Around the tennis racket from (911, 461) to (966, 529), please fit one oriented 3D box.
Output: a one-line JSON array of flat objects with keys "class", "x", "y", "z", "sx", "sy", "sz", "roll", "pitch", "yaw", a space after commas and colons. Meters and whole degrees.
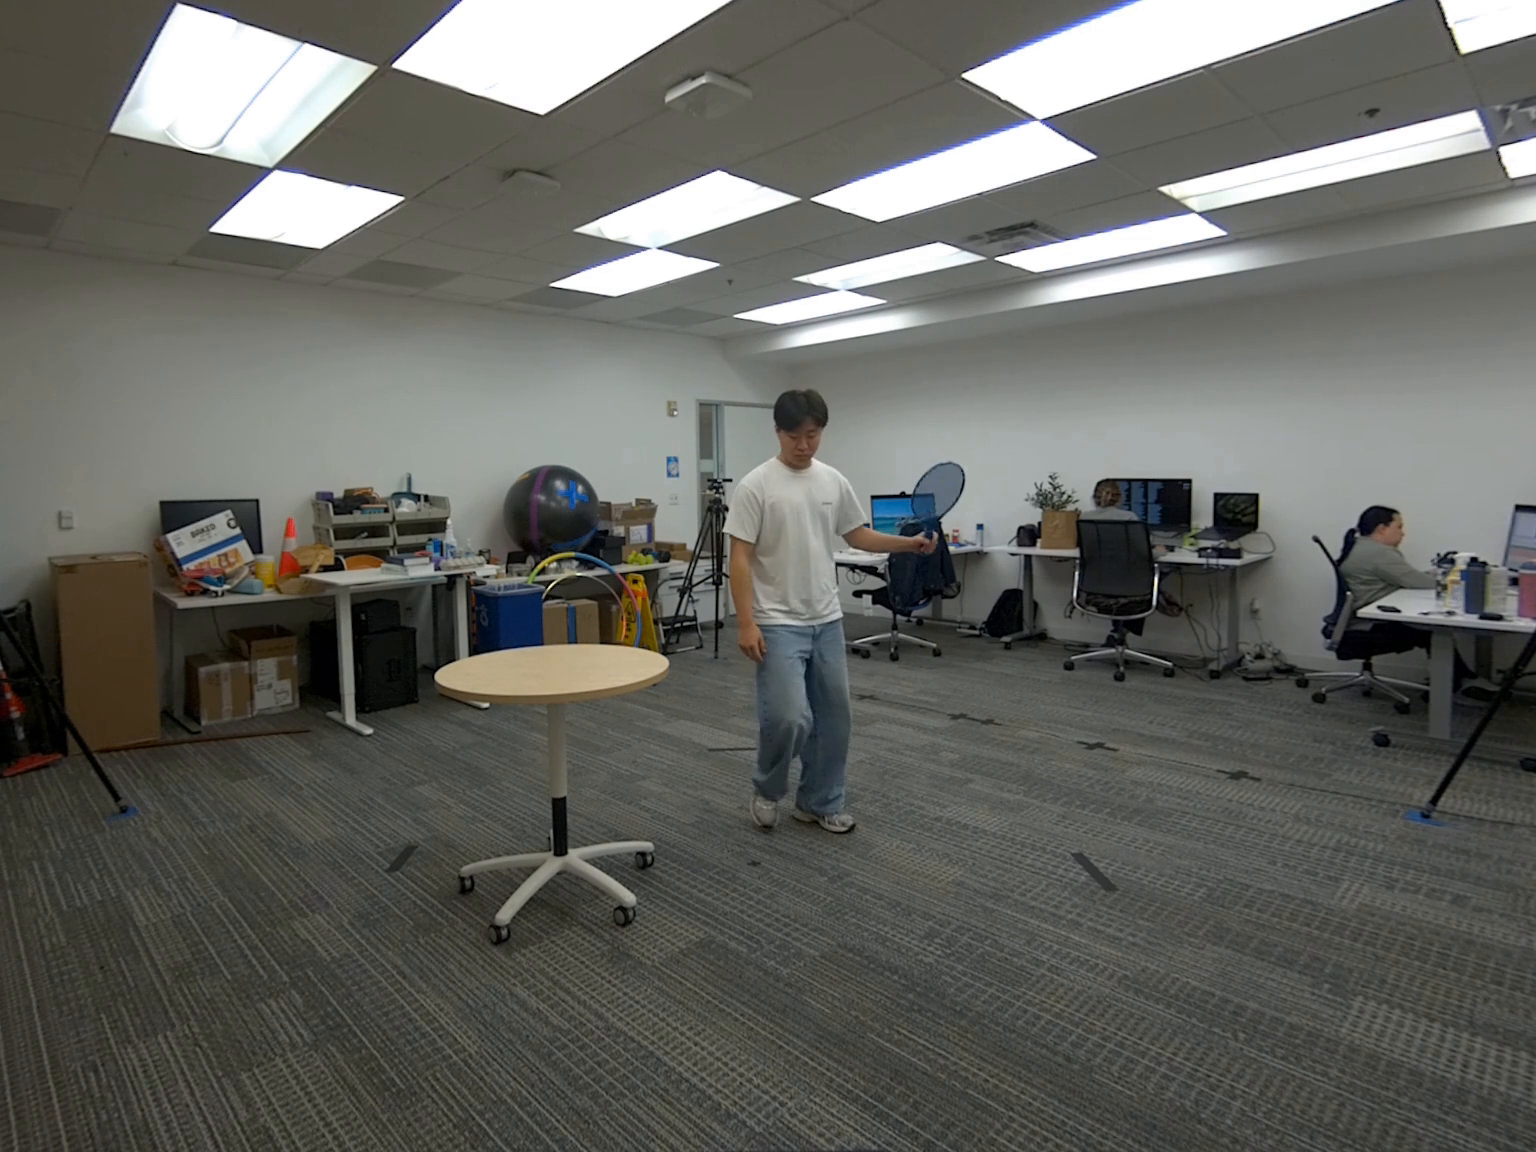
[{"class": "tennis racket", "x": 0.585, "y": -0.239, "z": 3.165, "sx": 0.211, "sy": 0.421, "sz": 0.033, "roll": -15, "pitch": 43, "yaw": -18}]
